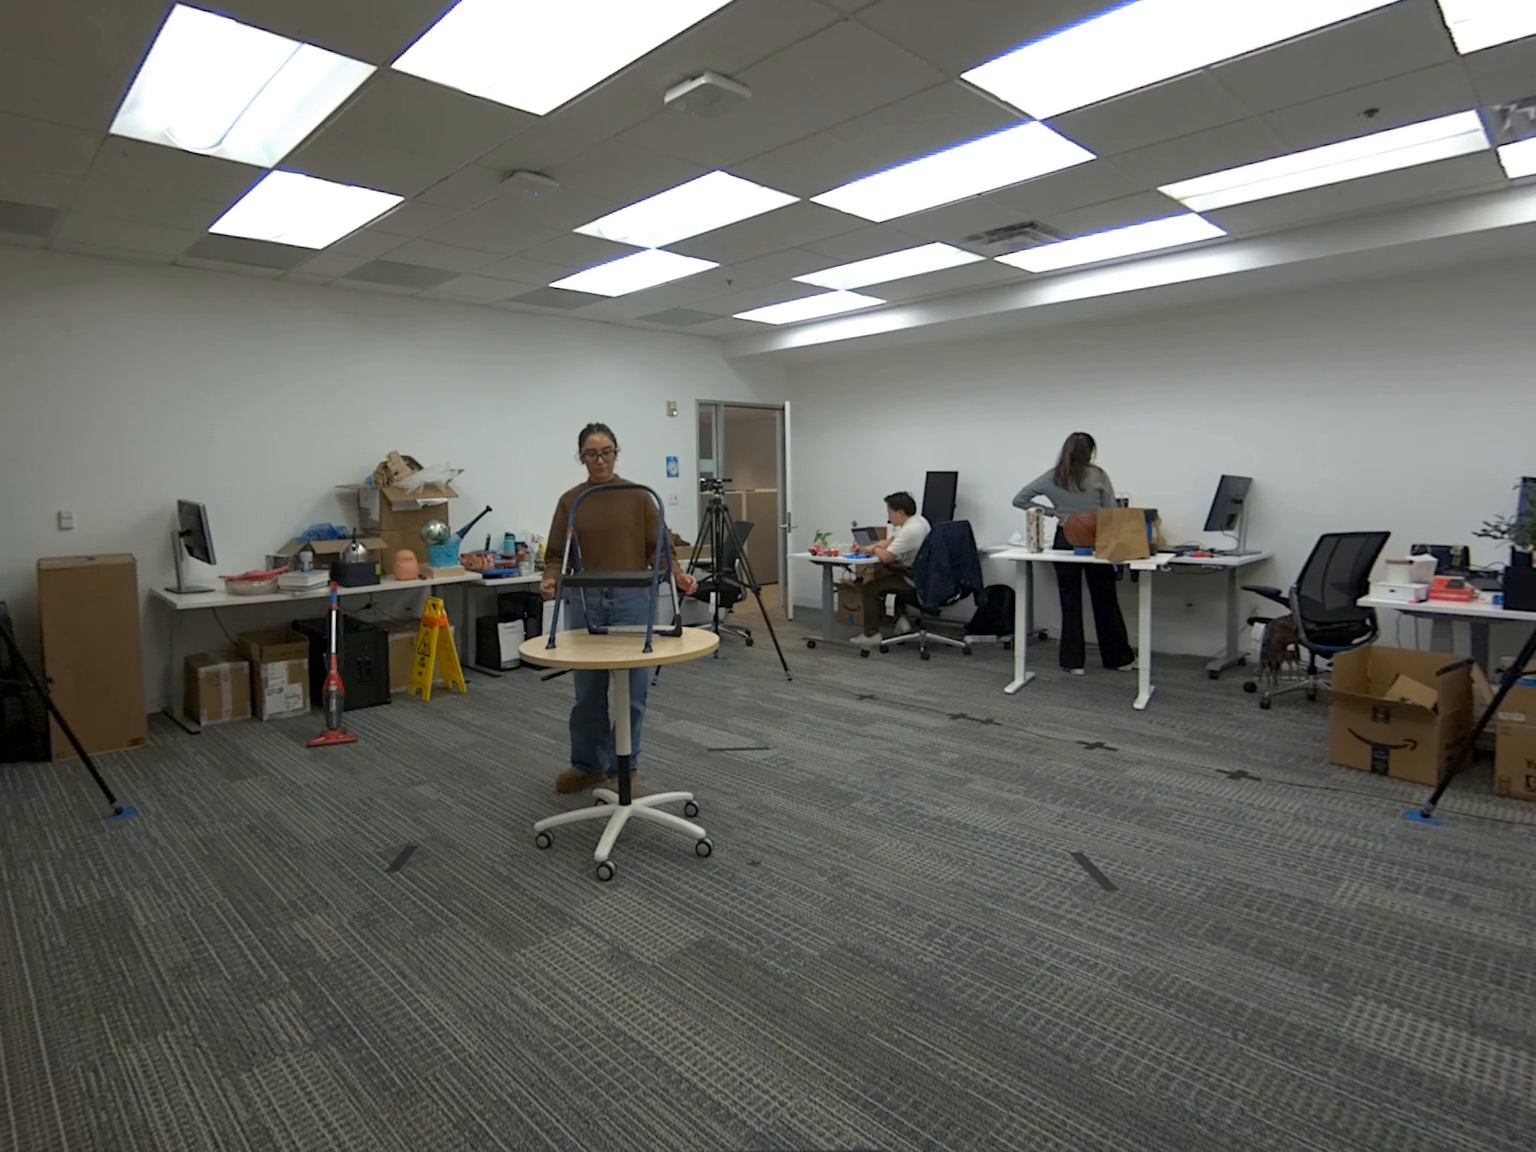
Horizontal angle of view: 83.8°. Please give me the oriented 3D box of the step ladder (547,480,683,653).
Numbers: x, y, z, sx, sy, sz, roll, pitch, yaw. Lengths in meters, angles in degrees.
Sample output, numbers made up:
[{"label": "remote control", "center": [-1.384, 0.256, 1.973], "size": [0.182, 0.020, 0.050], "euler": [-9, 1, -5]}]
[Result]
[{"label": "step ladder", "center": [-0.592, -0.043, 3.269], "size": [0.438, 0.604, 0.344], "euler": [0, 4, 19]}]
